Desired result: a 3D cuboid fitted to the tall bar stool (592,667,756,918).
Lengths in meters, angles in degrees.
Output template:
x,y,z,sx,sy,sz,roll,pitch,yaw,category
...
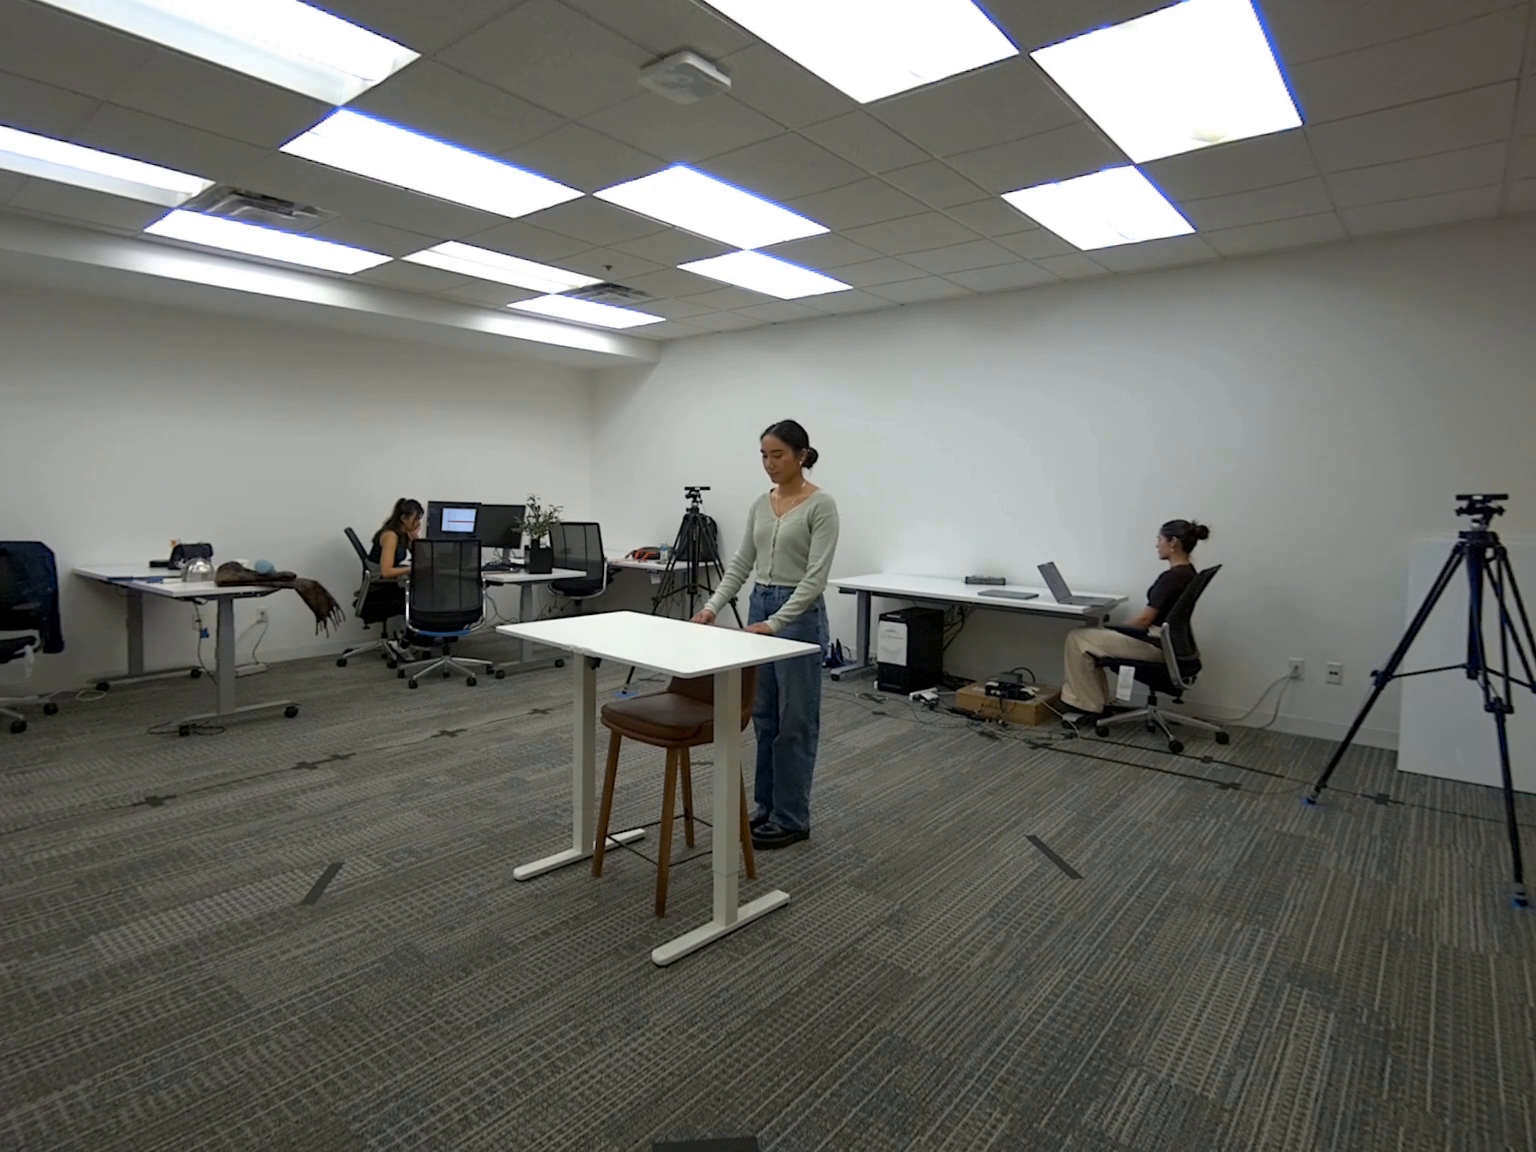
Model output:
x,y,z,sx,sy,sz,roll,pitch,yaw,category
-0.322,0.639,3.016,0.453,0.889,0.472,1,2,-42,tall bar stool
